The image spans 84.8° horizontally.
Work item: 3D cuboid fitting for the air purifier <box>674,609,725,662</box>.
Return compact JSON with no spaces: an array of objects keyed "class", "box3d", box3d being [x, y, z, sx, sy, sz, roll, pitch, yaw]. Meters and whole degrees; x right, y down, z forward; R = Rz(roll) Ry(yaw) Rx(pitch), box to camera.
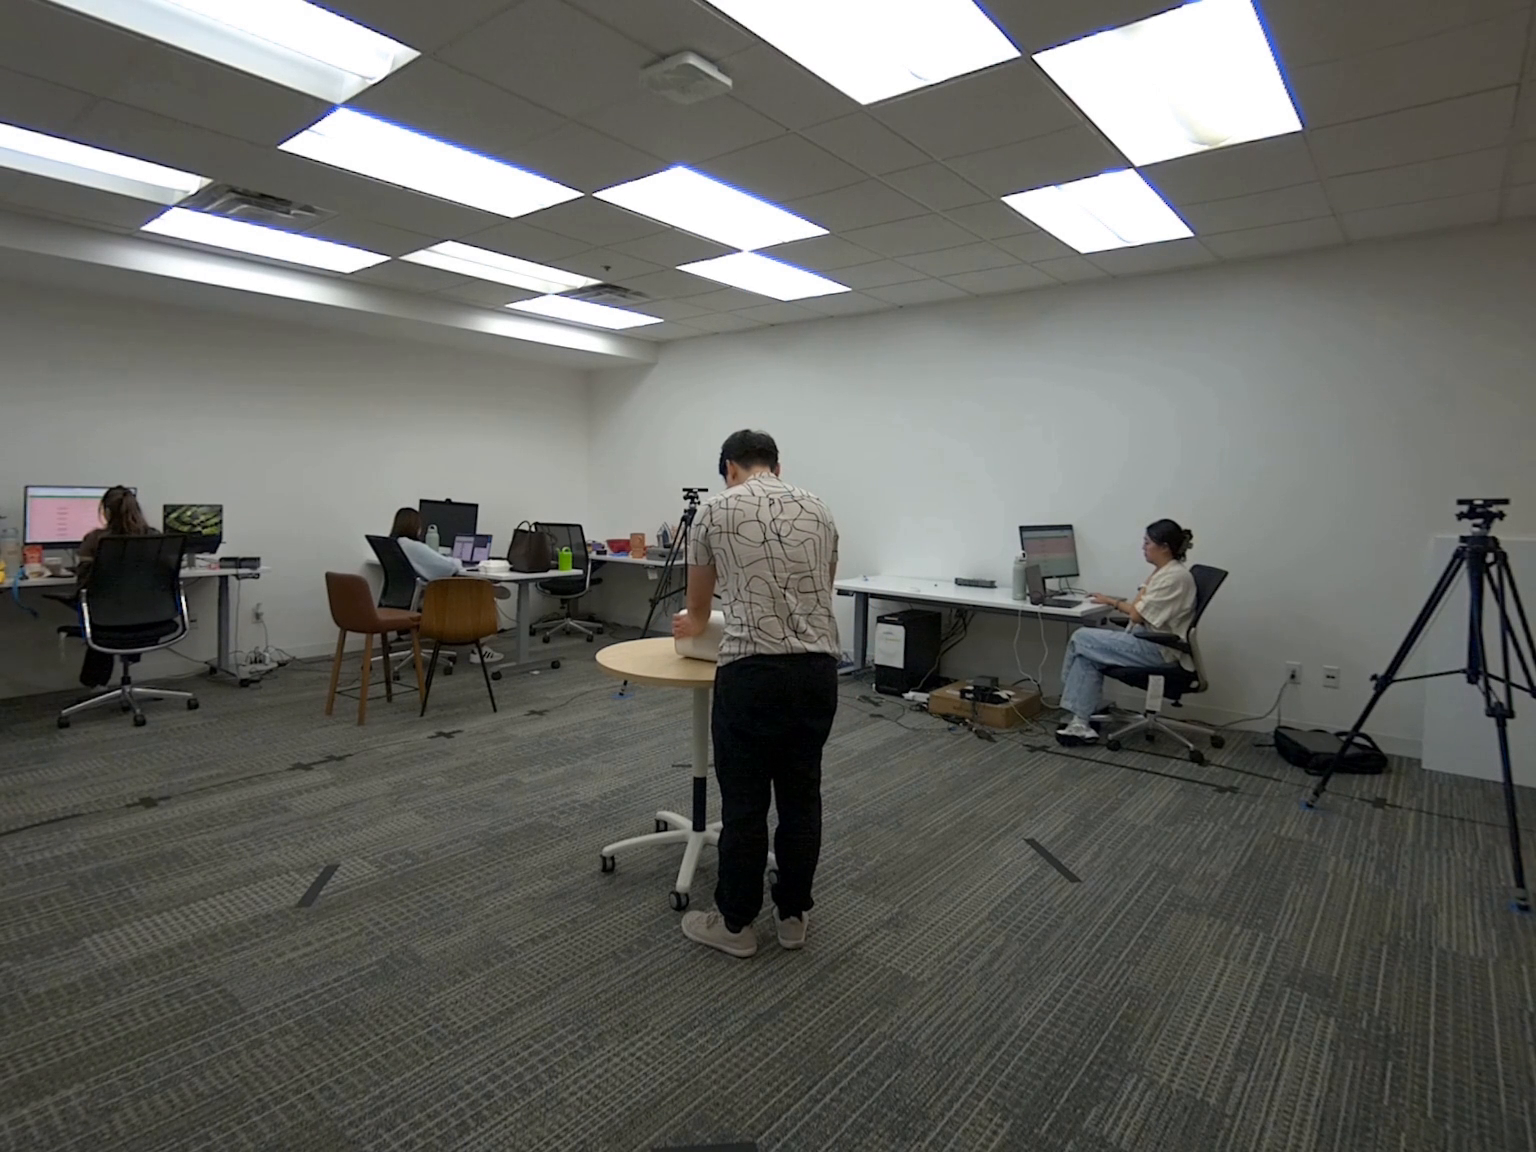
[{"class":"air purifier","box3d":[-0.188,0.210,3.019,0.274,0.171,0.166,5,4,33]}]
